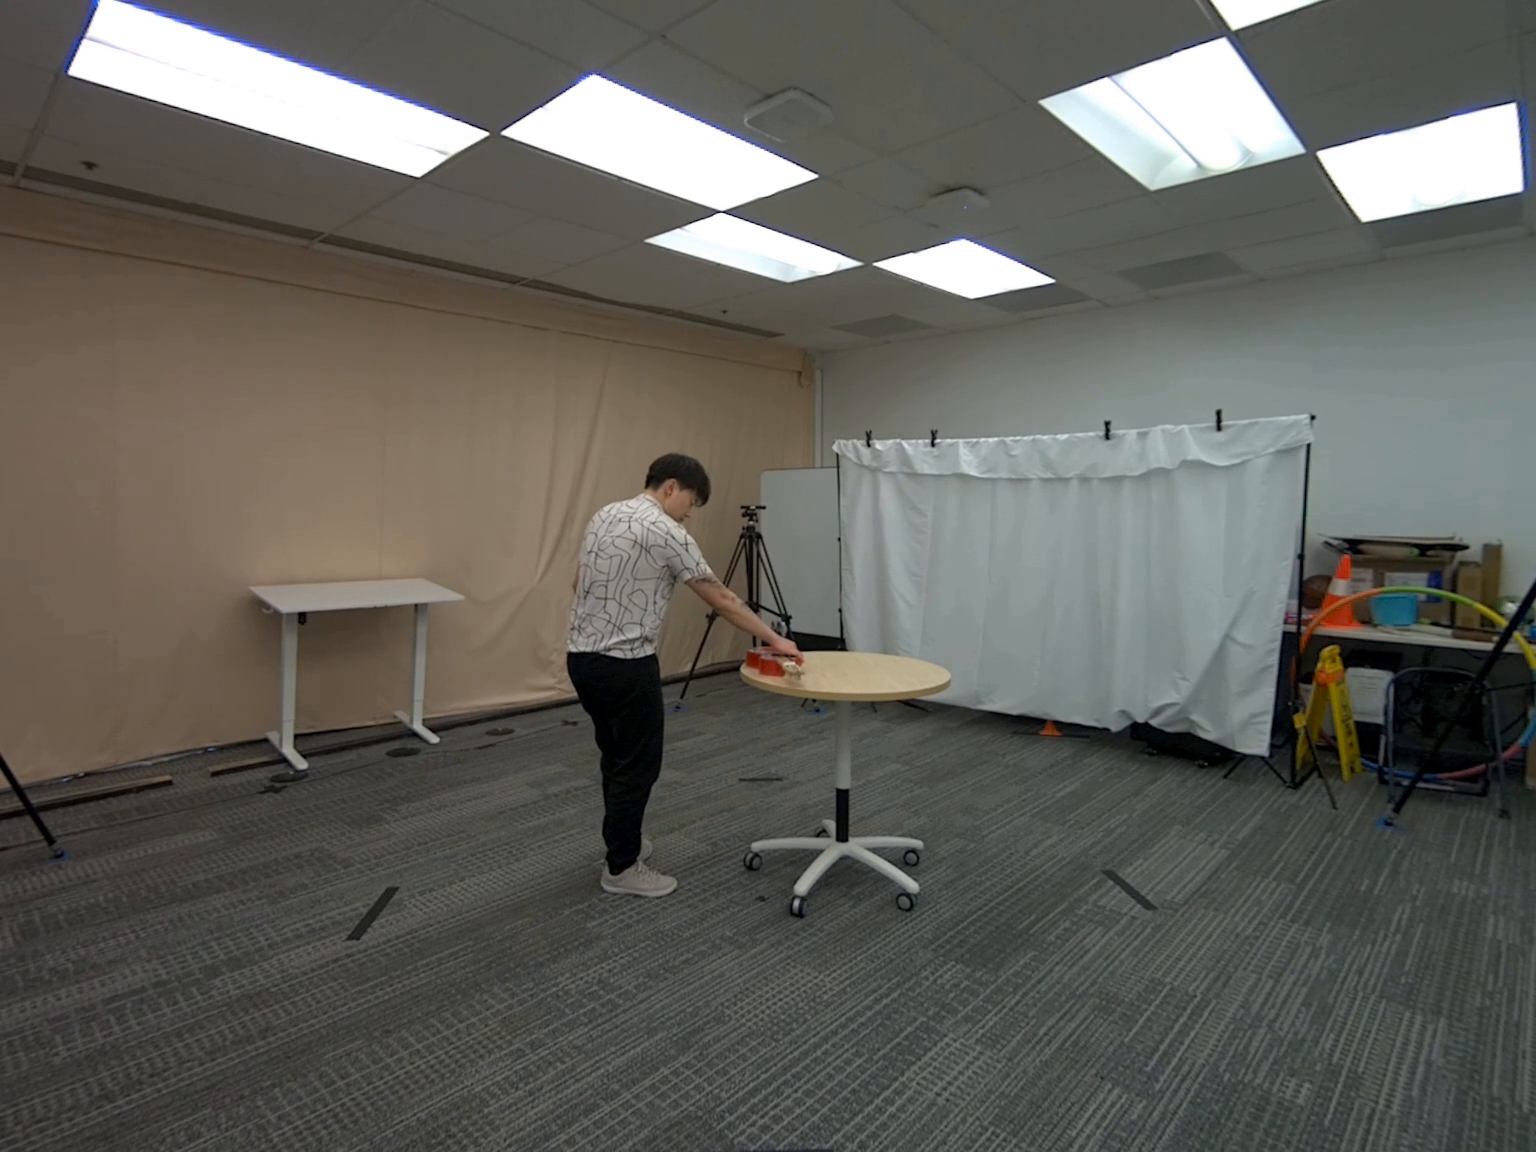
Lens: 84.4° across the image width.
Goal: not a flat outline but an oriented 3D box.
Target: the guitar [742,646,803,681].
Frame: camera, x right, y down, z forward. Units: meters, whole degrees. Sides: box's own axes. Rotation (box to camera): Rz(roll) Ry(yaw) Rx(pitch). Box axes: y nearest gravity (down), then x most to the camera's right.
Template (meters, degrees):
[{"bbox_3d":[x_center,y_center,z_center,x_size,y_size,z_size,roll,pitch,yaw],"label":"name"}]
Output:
[{"bbox_3d":[0.026,0.324,3.007,0.192,0.070,0.500,-1,4,-5],"label":"guitar"}]
